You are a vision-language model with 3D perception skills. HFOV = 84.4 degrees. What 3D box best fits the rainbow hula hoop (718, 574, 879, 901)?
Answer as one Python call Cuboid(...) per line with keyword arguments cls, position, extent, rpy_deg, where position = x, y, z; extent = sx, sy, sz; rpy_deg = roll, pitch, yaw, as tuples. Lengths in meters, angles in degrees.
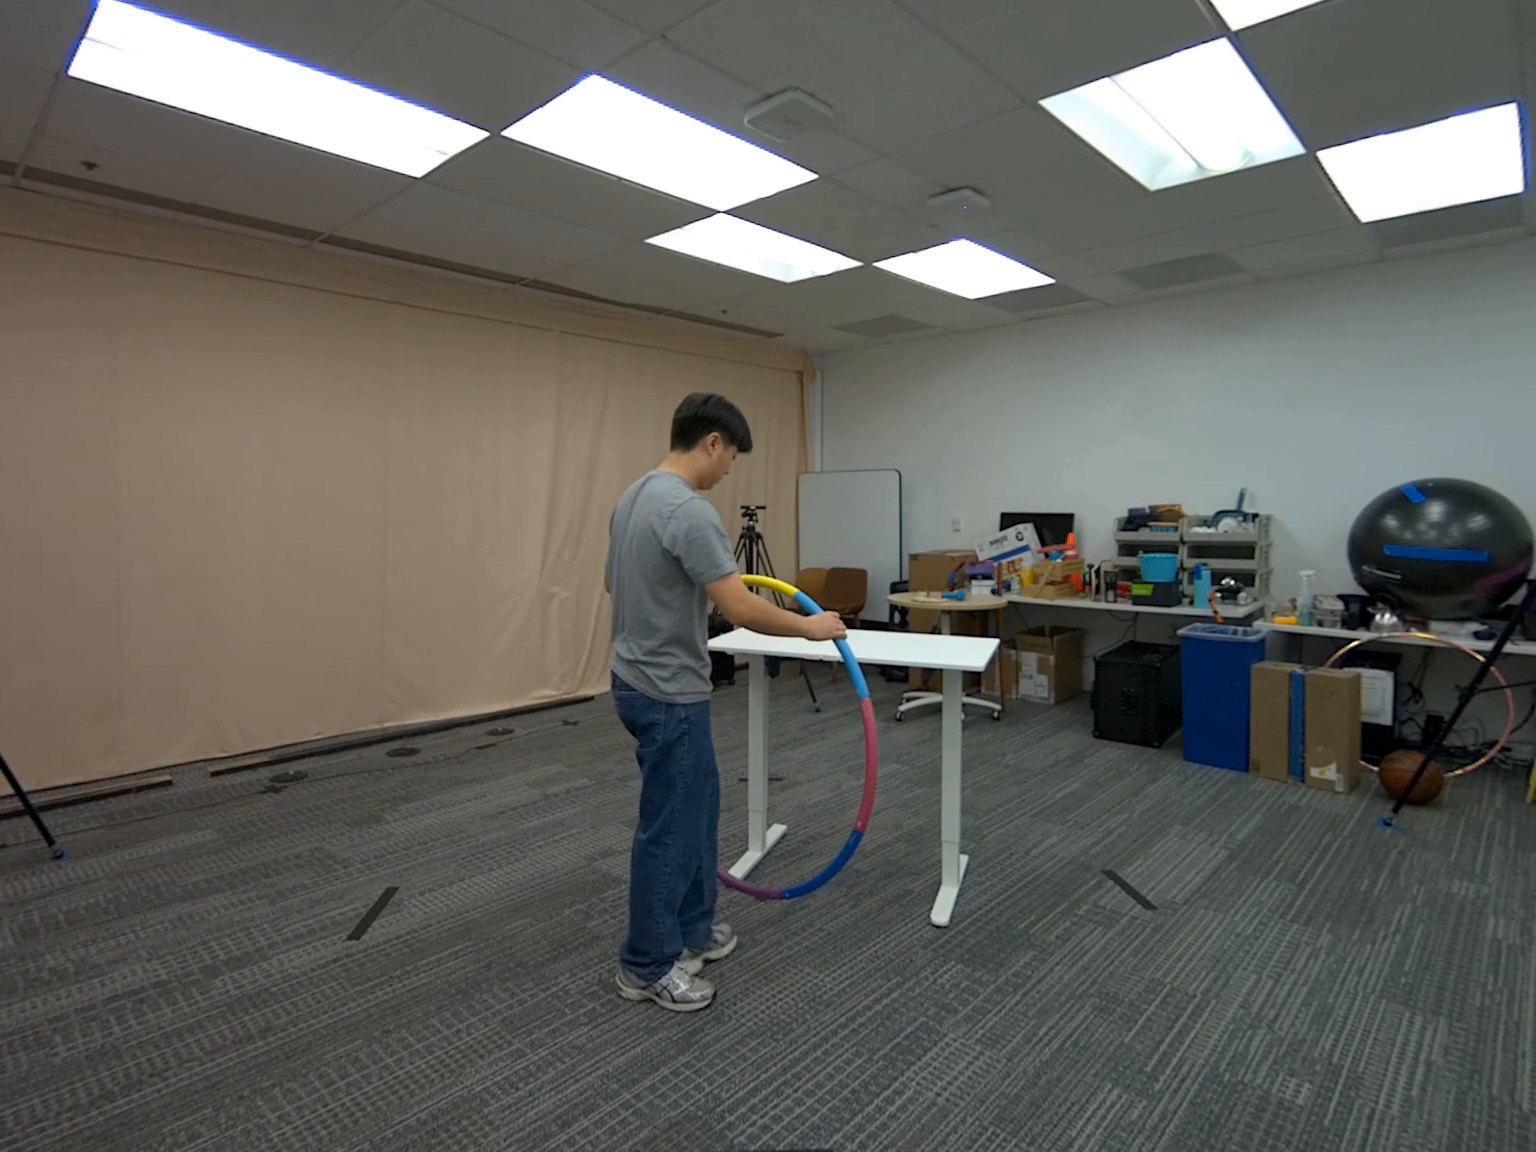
Cuboid(cls="rainbow hula hoop", position=(-0.062, 0.495, 2.639), extent=(1.011, 0.978, 0.034), rpy_deg=(4, 1, 44))
